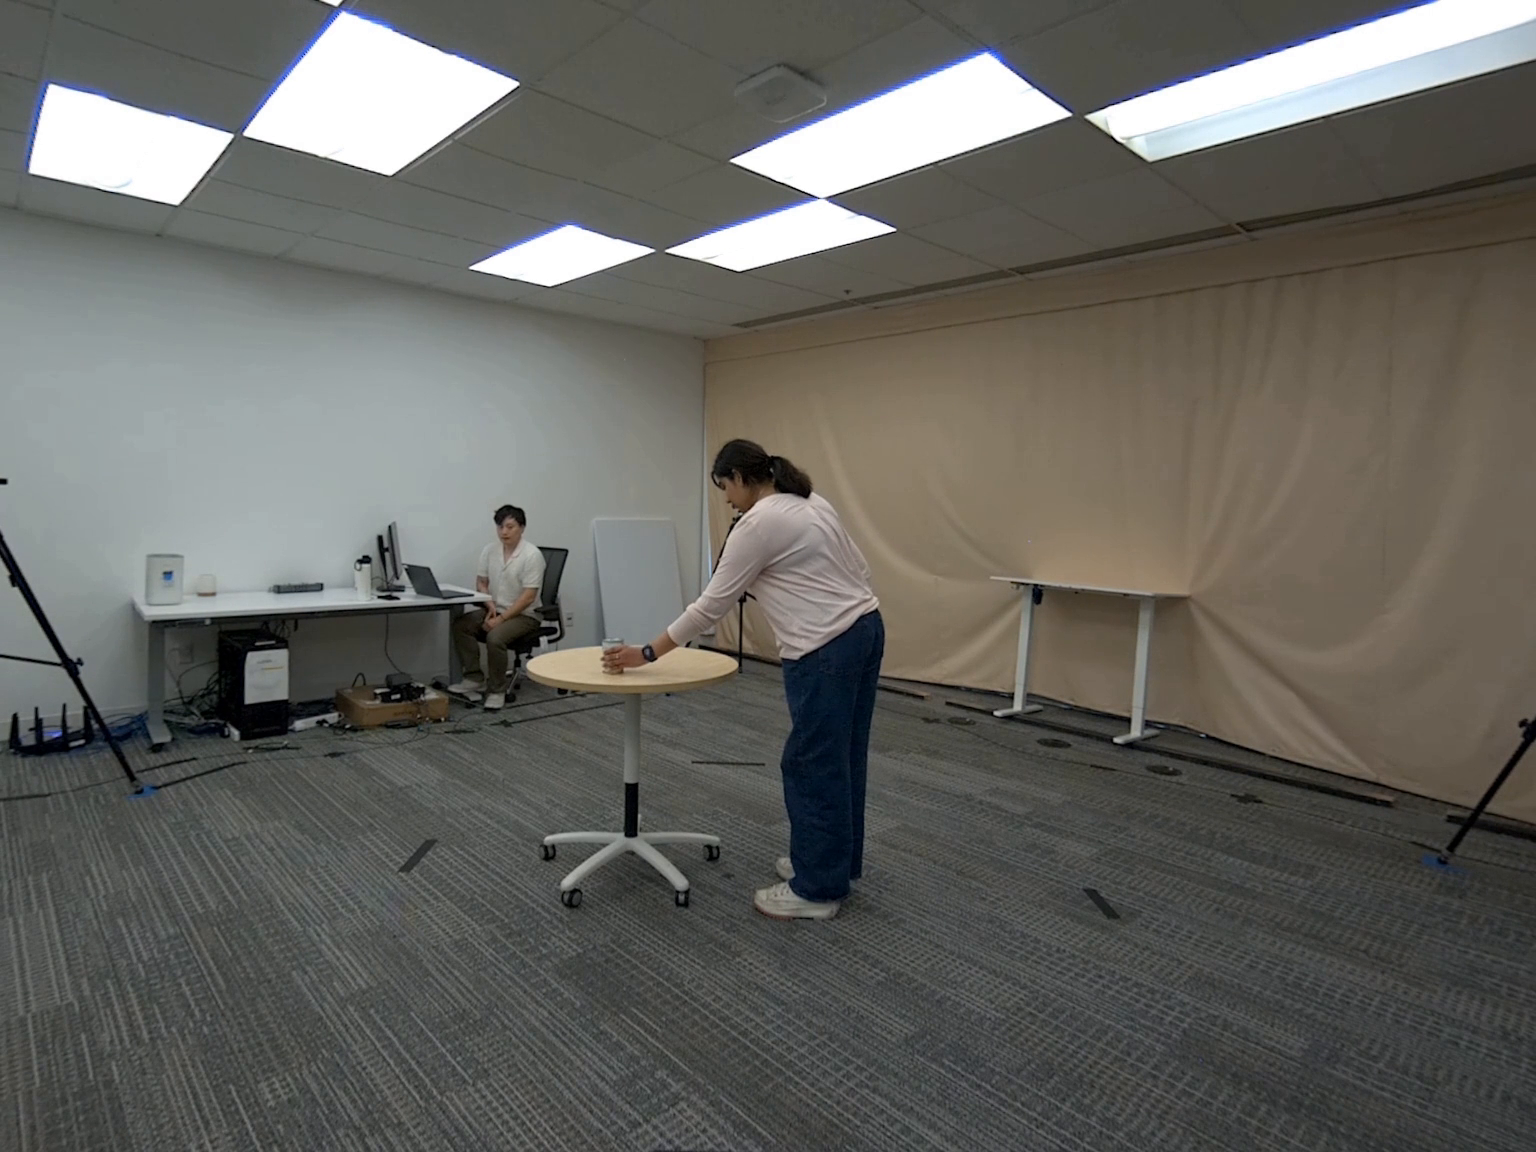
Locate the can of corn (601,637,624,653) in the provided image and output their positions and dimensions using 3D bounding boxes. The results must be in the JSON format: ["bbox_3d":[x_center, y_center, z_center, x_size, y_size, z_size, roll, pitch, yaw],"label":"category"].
[{"bbox_3d":[-0.532,0.278,2.890,0.074,0.110,0.074,2,6,-2],"label":"can of corn"}]
